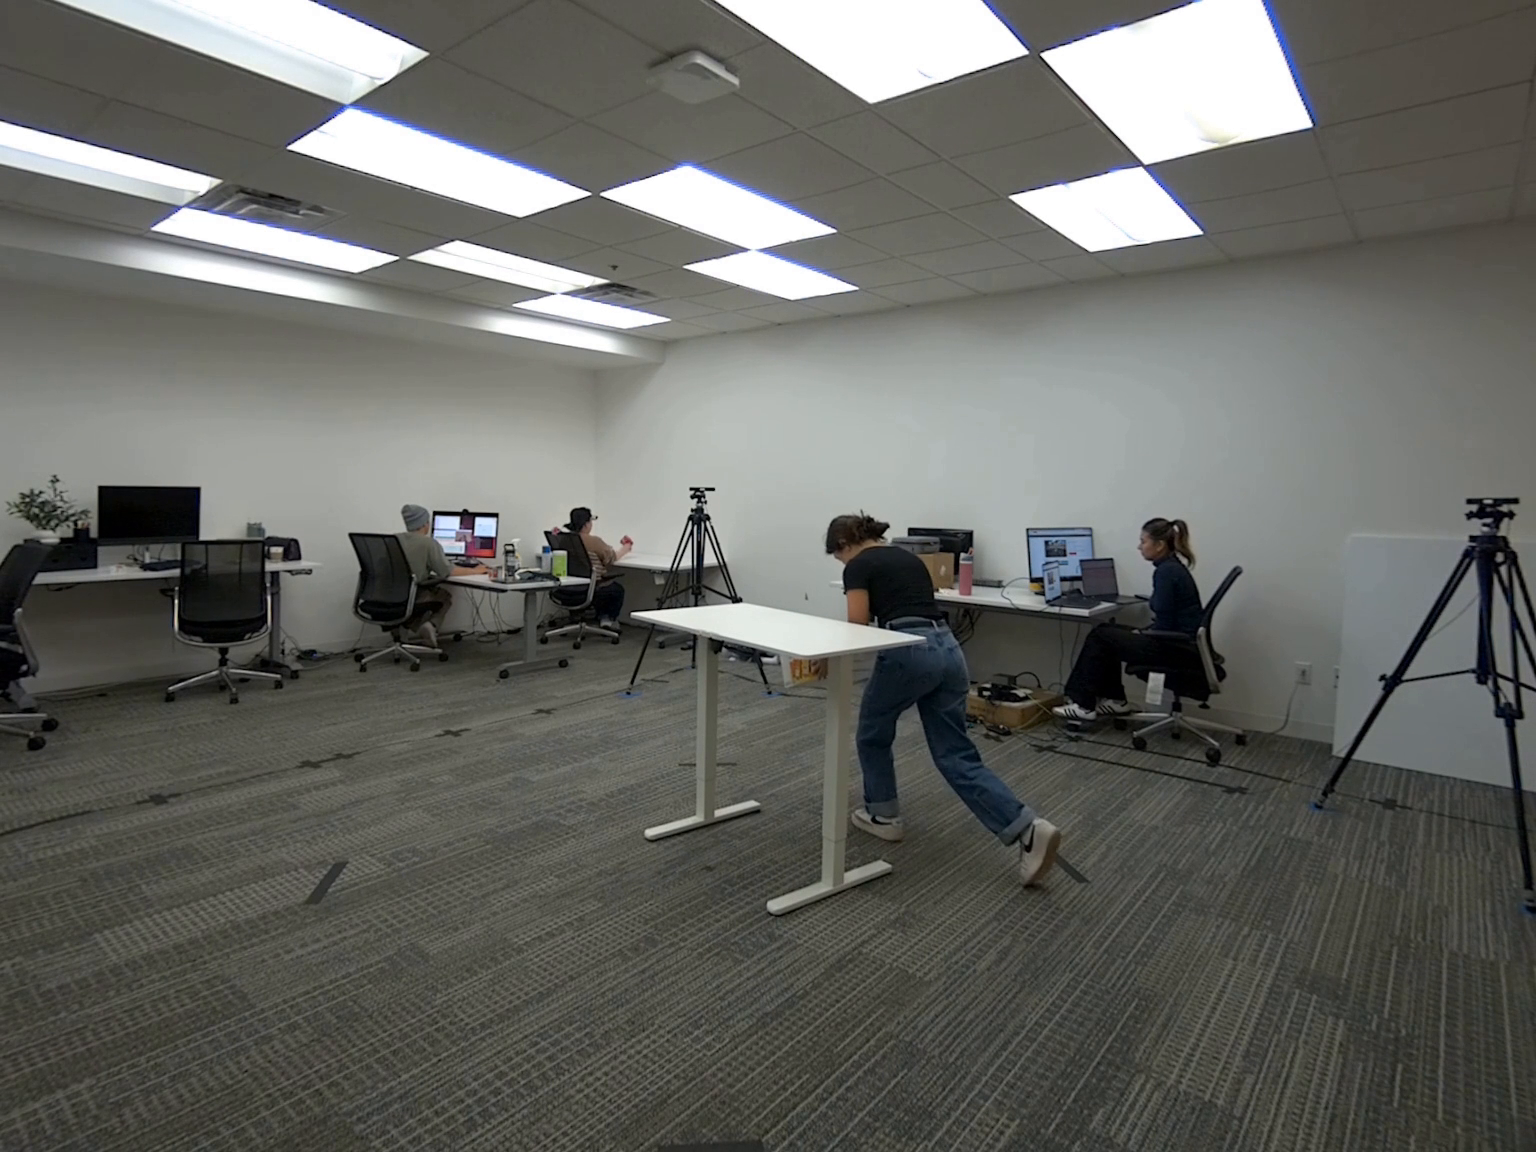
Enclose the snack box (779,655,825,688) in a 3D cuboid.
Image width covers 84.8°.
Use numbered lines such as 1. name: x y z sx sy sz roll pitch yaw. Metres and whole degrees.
1. snack box: 0.308 0.345 3.785 0.330 0.209 0.410 0 -16 -35
